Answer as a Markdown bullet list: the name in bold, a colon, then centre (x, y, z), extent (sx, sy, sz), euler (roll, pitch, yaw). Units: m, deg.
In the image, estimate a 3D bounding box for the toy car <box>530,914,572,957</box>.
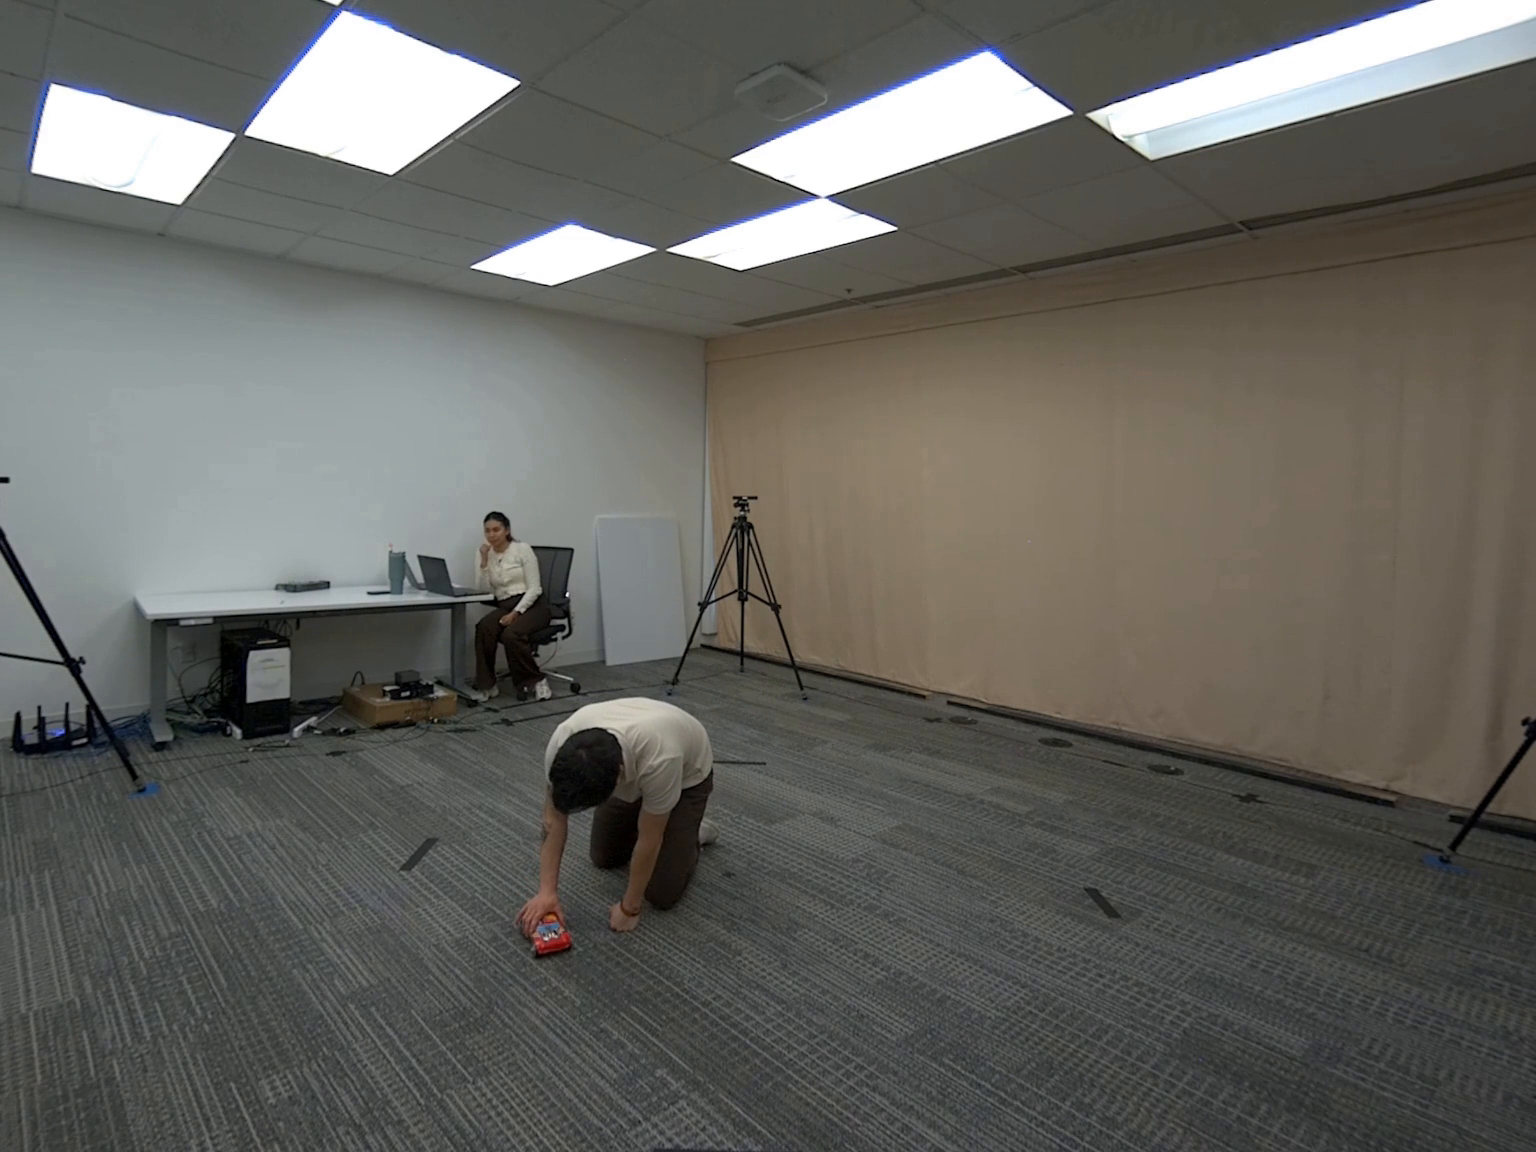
- **toy car**: centre (-0.719, 1.106, 2.628), extent (0.128, 0.082, 0.261), euler (-1, 14, -28)
